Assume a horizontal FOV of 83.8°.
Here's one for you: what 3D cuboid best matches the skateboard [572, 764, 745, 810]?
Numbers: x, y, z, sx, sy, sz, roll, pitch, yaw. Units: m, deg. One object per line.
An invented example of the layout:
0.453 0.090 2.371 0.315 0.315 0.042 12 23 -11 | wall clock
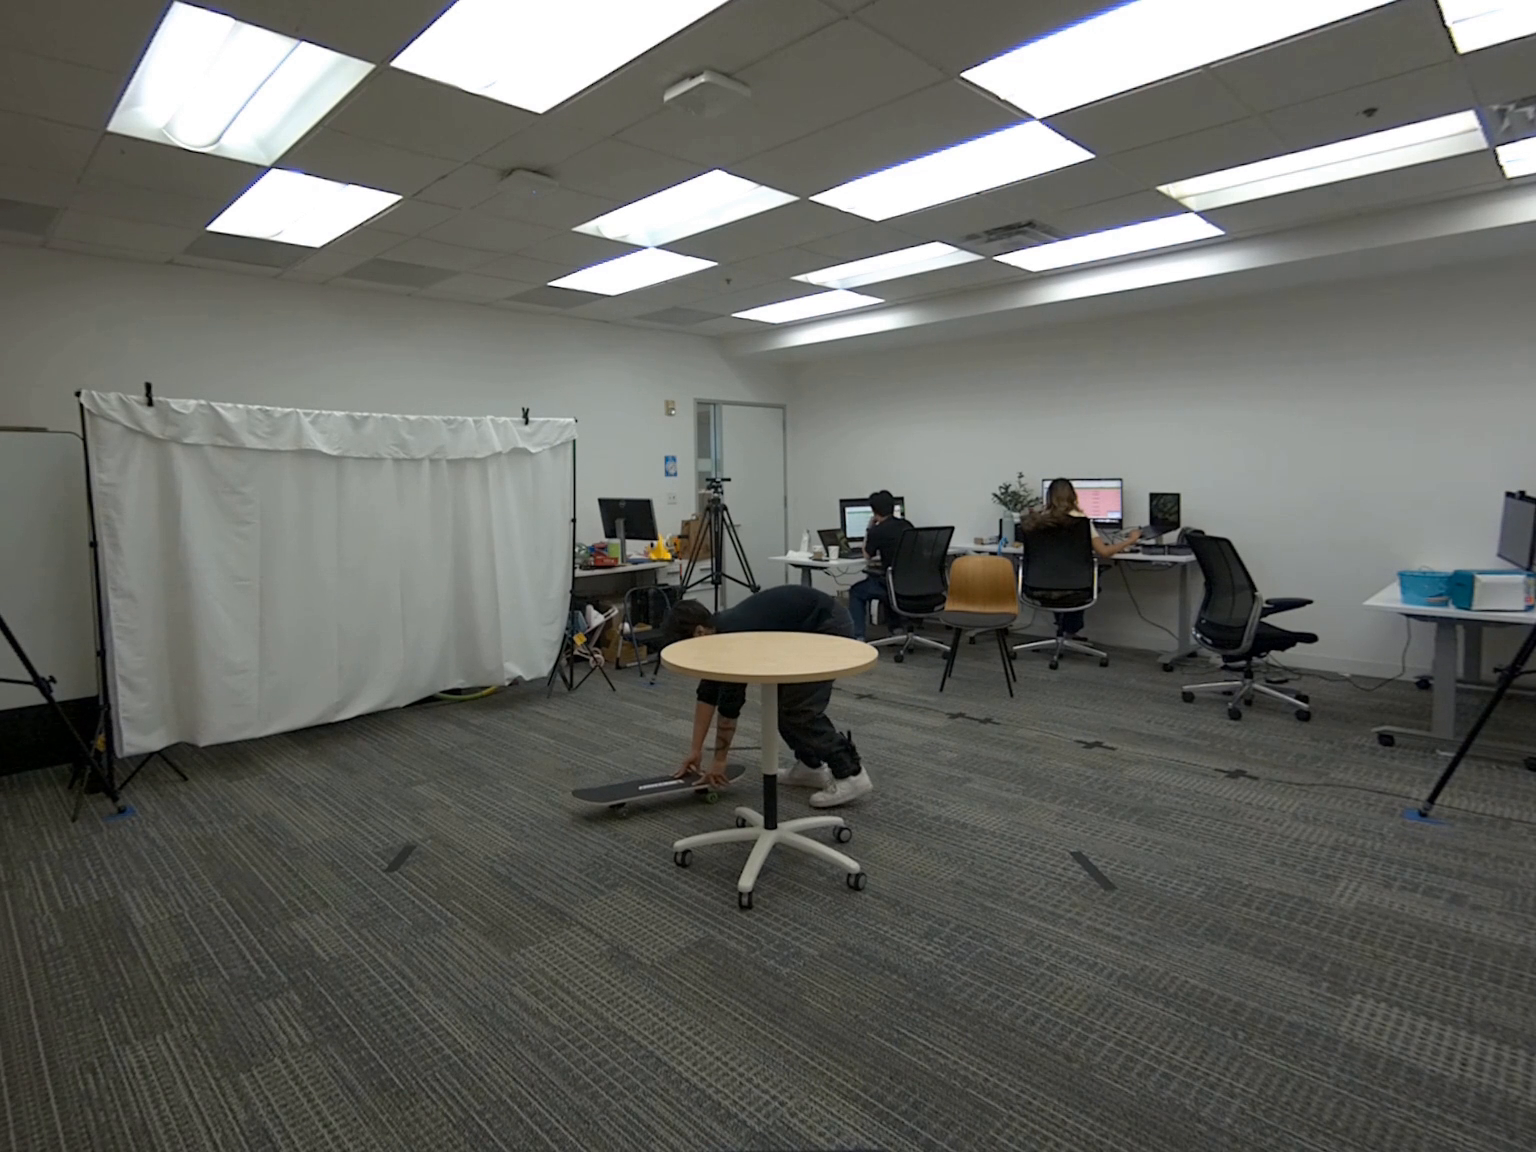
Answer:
-0.455 0.925 3.676 0.770 0.110 0.198 -4 6 -23 | skateboard
